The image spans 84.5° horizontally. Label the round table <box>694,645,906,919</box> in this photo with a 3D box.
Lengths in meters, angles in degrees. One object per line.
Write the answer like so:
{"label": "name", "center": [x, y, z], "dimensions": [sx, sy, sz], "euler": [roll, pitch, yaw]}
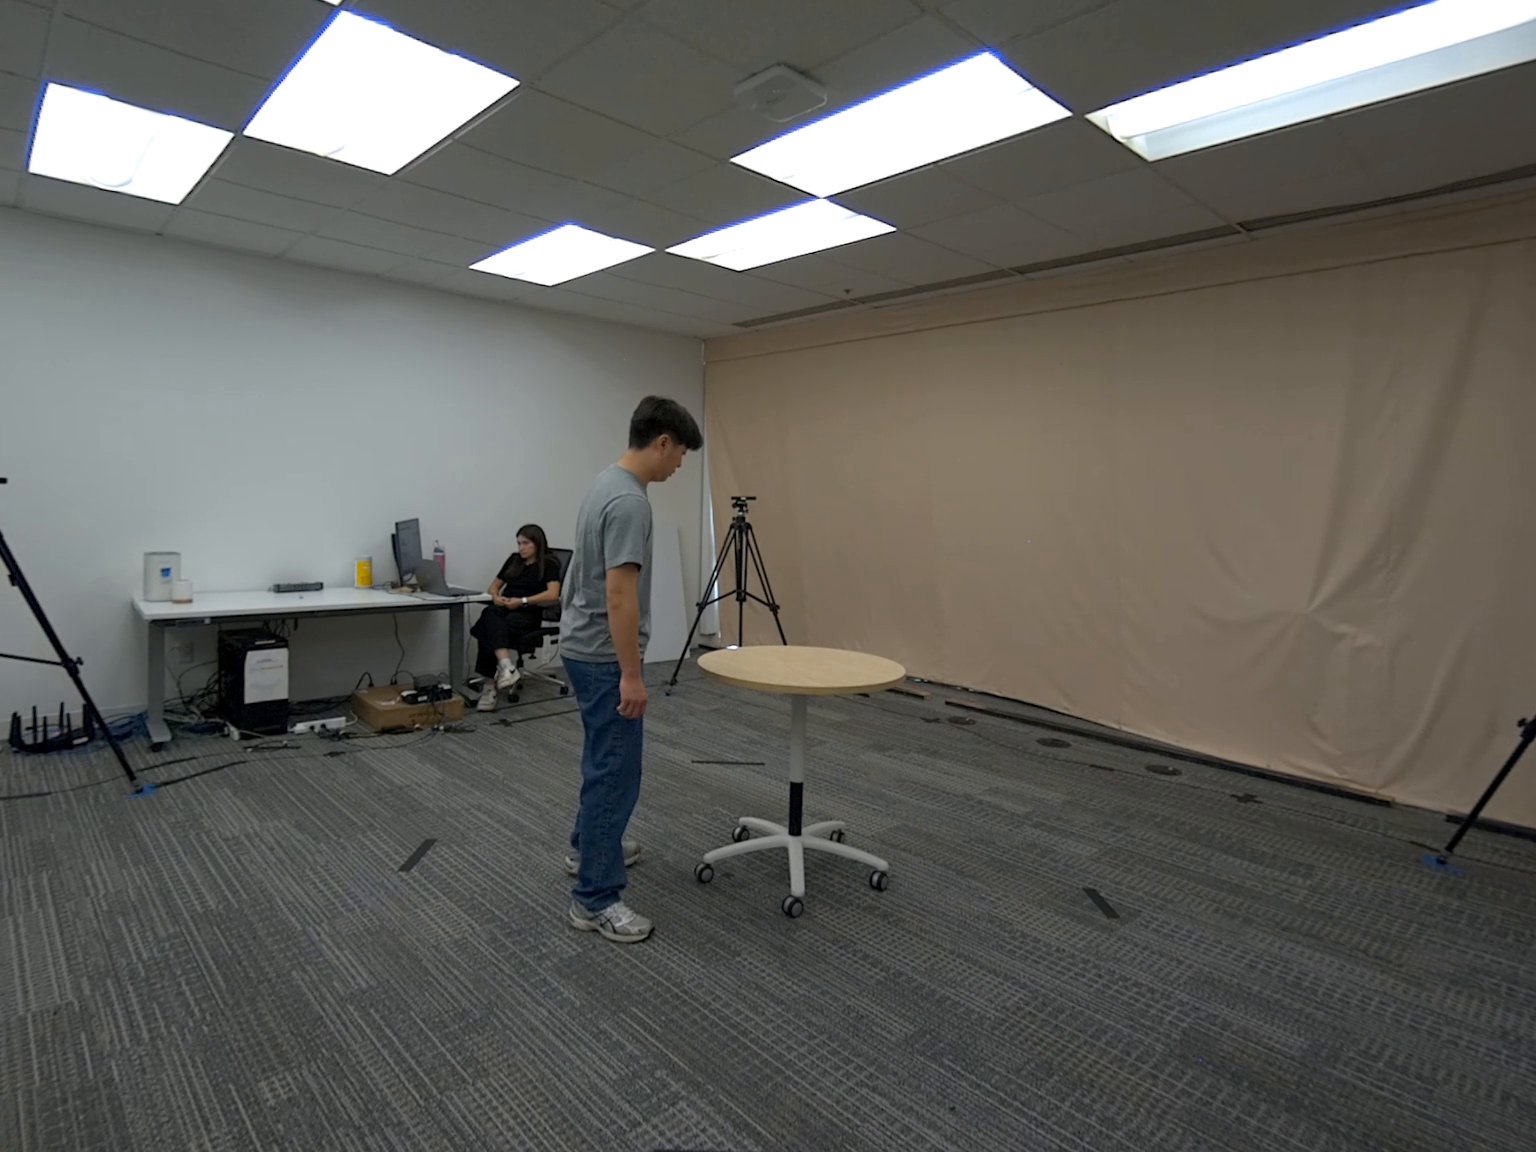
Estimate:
{"label": "round table", "center": [0.100, 0.720, 3.129], "dimensions": [0.763, 0.792, 0.766], "euler": [2, 4, -1]}
